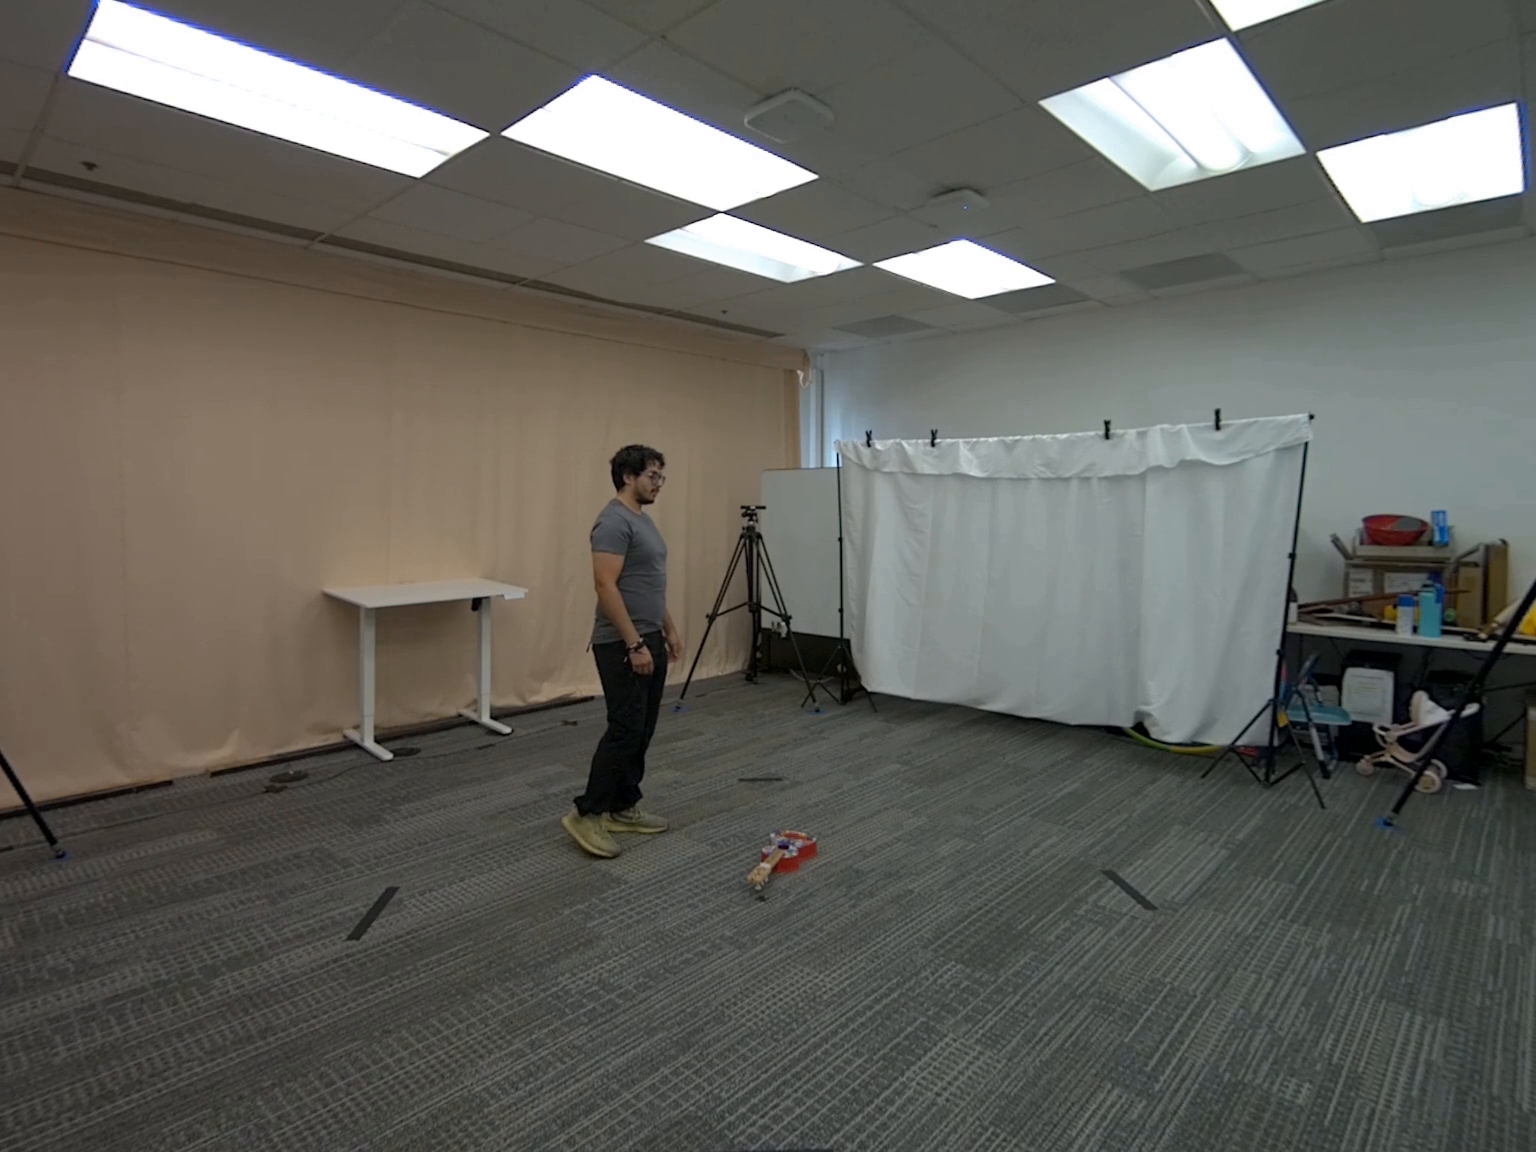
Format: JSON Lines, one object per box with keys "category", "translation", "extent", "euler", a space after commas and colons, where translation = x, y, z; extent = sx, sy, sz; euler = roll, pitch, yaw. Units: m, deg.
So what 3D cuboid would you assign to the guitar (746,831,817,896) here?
{"category": "guitar", "translation": [0.012, 1.088, 3.233], "extent": [0.199, 0.070, 0.484], "euler": [3, 5, 31]}
